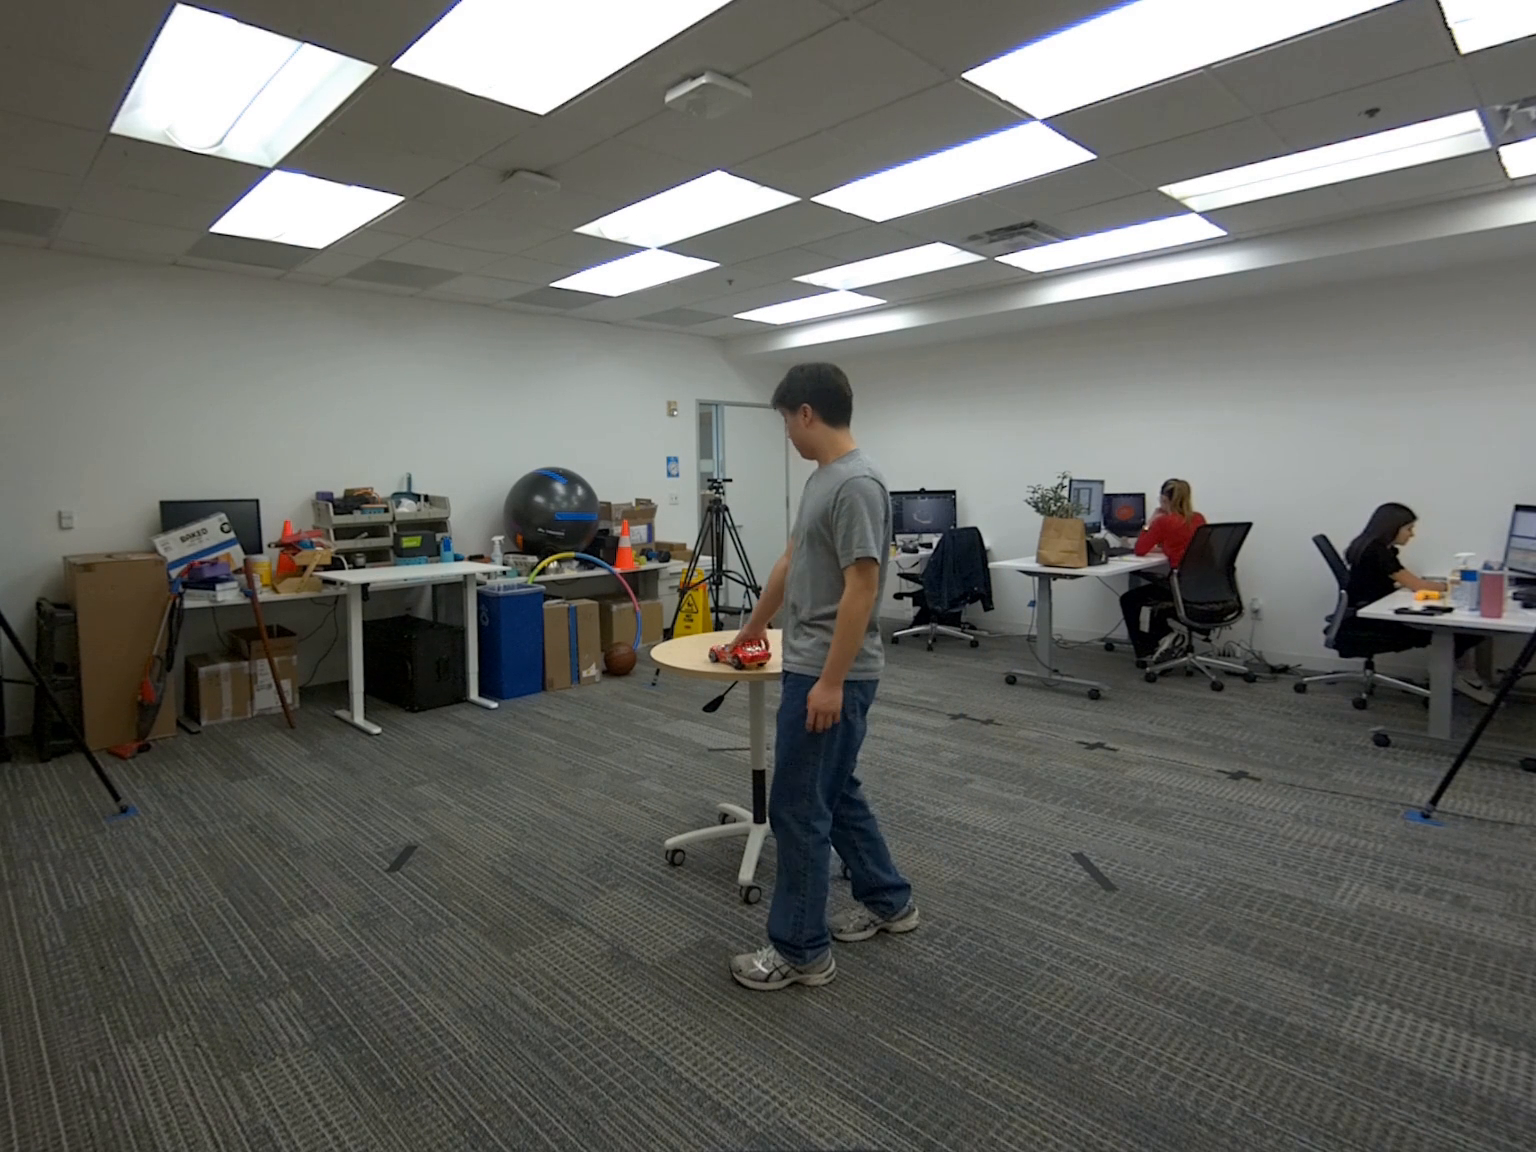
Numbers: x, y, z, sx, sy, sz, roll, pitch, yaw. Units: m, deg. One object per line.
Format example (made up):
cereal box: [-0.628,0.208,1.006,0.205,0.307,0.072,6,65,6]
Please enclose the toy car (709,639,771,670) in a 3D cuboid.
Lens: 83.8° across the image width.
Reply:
toy car: [-0.078,0.264,2.833,0.127,0.083,0.260,-4,-4,-34]
